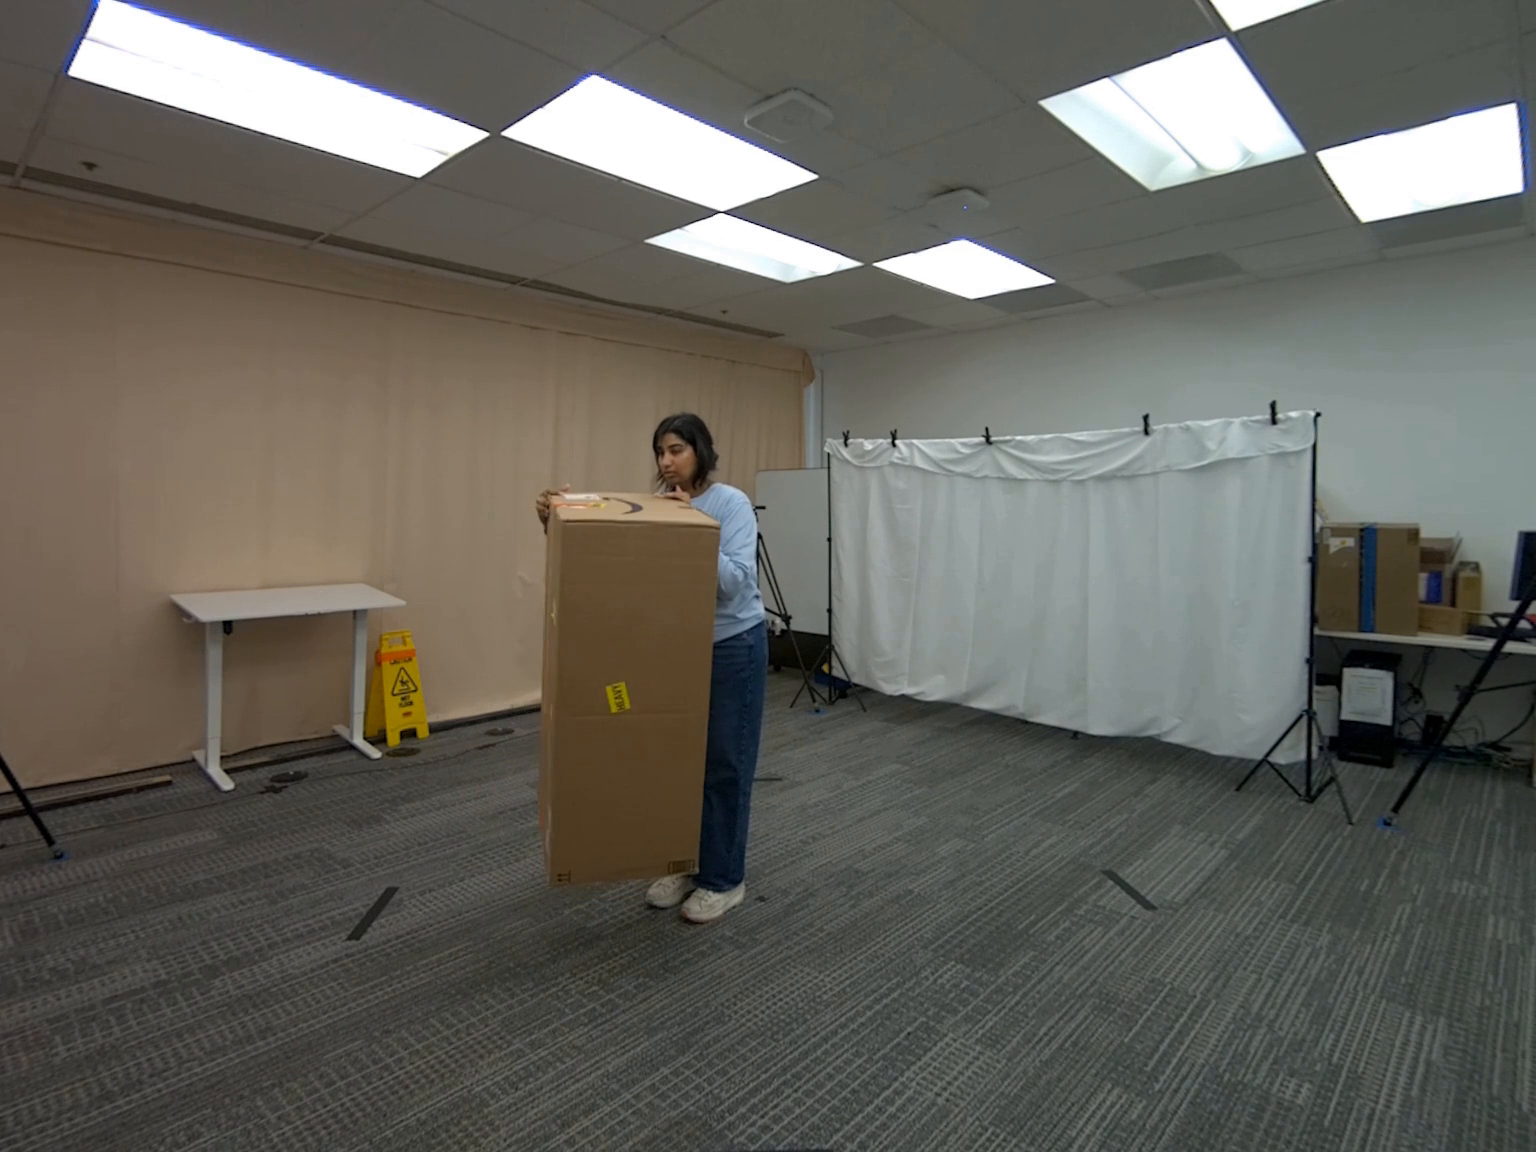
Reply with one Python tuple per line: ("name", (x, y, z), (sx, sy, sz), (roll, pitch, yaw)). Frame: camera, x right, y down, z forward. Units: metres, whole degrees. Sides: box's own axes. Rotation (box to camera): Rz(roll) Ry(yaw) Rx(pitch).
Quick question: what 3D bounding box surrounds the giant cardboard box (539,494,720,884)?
("giant cardboard box", (-0.457, 0.297, 2.536), (0.440, 1.021, 0.596), (1, 11, -15))
